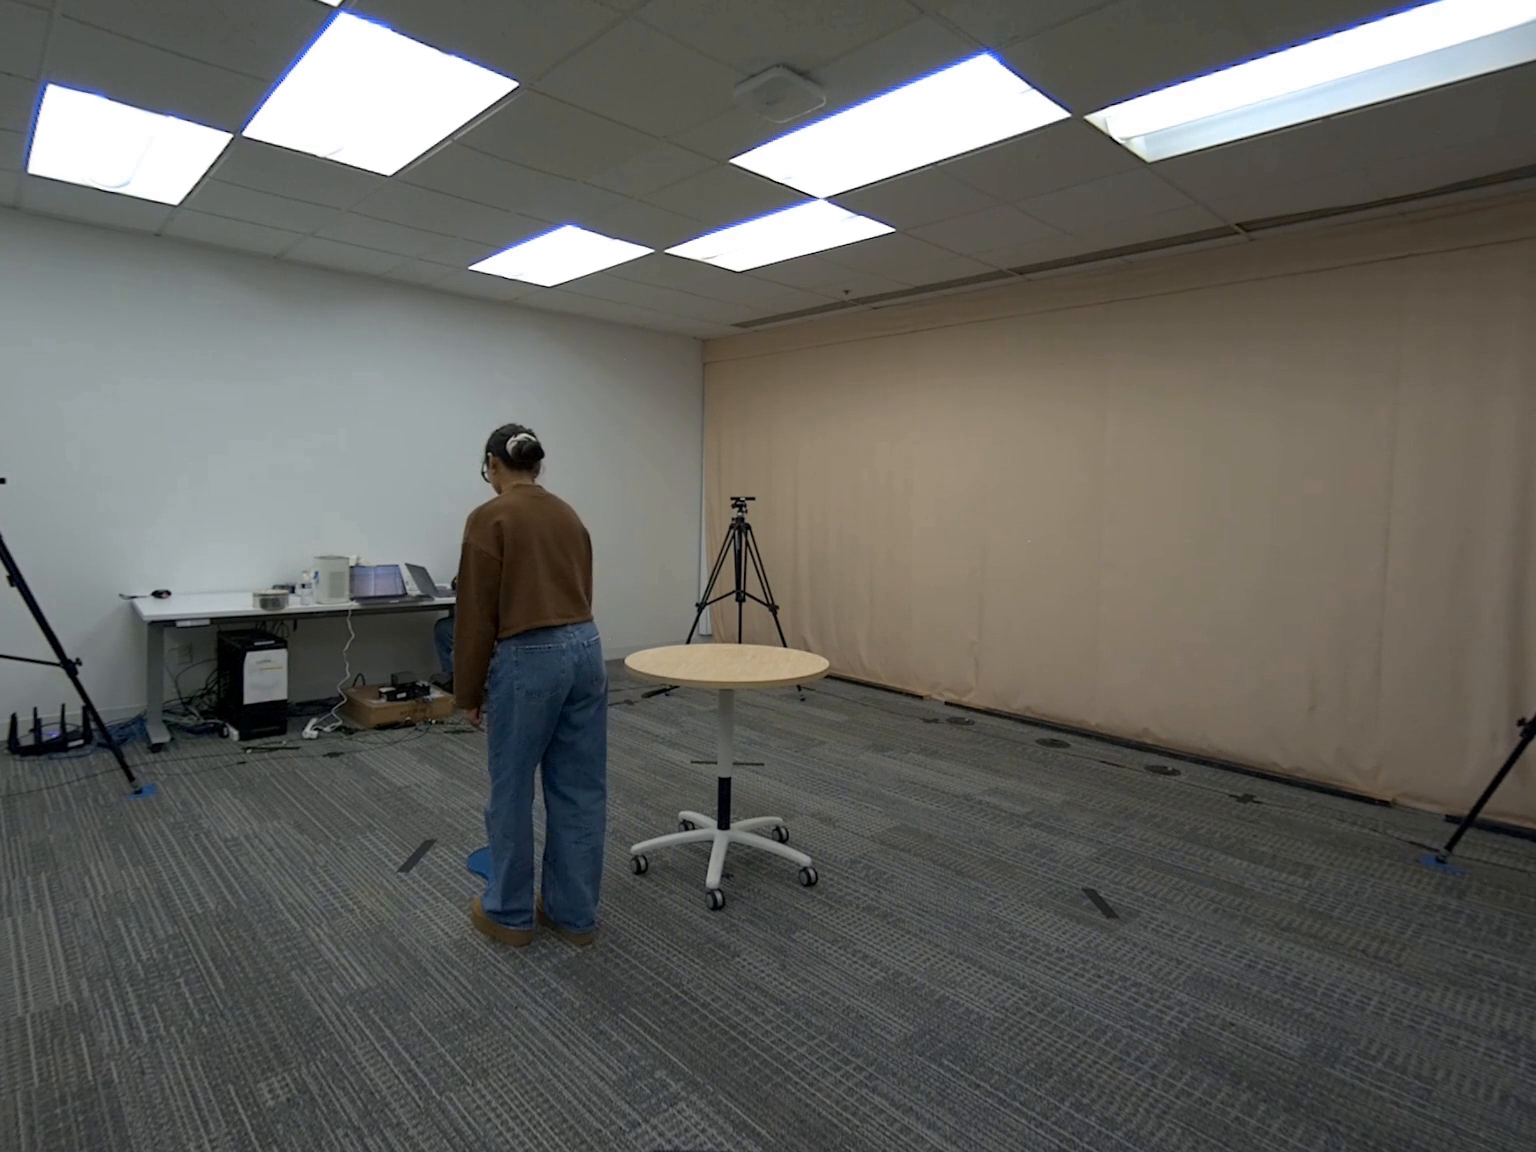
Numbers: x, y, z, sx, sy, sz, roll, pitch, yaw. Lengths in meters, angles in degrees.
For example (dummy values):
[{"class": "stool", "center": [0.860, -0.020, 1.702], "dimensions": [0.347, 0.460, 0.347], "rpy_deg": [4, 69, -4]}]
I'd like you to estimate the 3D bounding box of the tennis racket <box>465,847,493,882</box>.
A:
[{"class": "tennis racket", "center": [-1.015, 1.078, 3.090], "dimensions": [0.212, 0.031, 0.438], "rpy_deg": [-1, 5, -13]}]
